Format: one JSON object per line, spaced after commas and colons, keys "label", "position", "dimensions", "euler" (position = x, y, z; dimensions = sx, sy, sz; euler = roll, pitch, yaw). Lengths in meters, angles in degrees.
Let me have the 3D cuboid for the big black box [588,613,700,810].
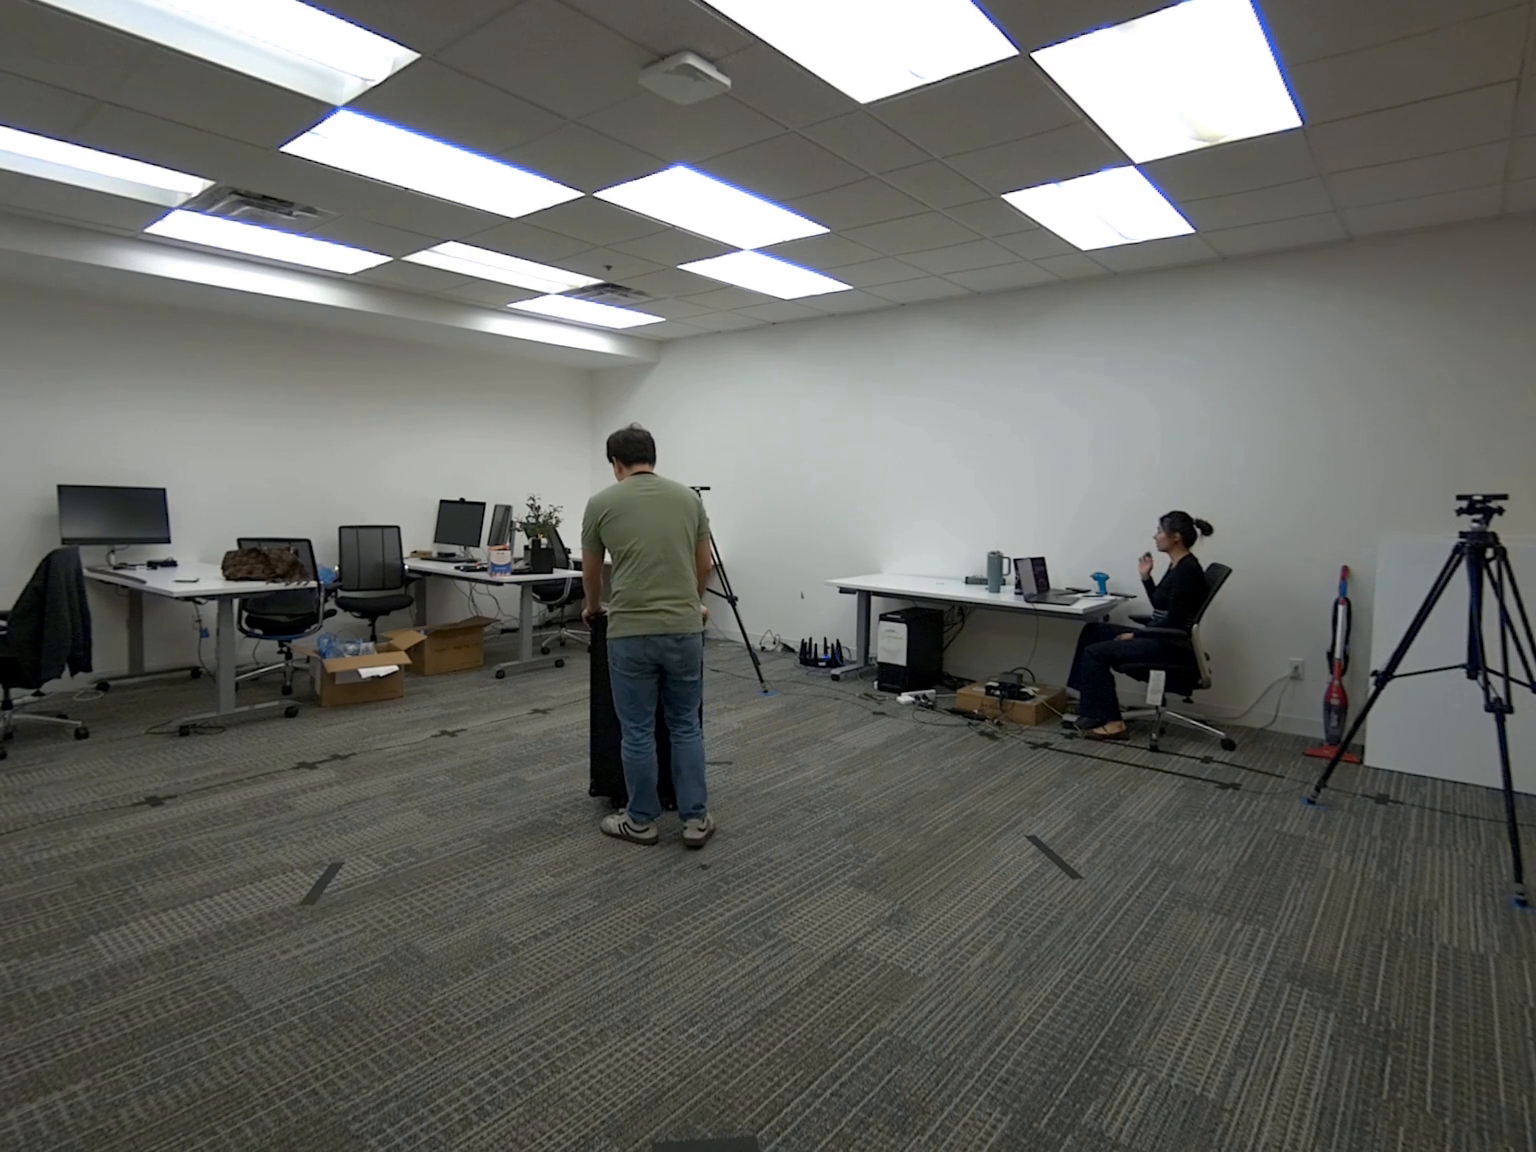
{"label": "big black box", "position": [-0.539, 0.572, 3.772], "dimensions": [0.521, 0.858, 0.398], "euler": [1, 4, -1]}
